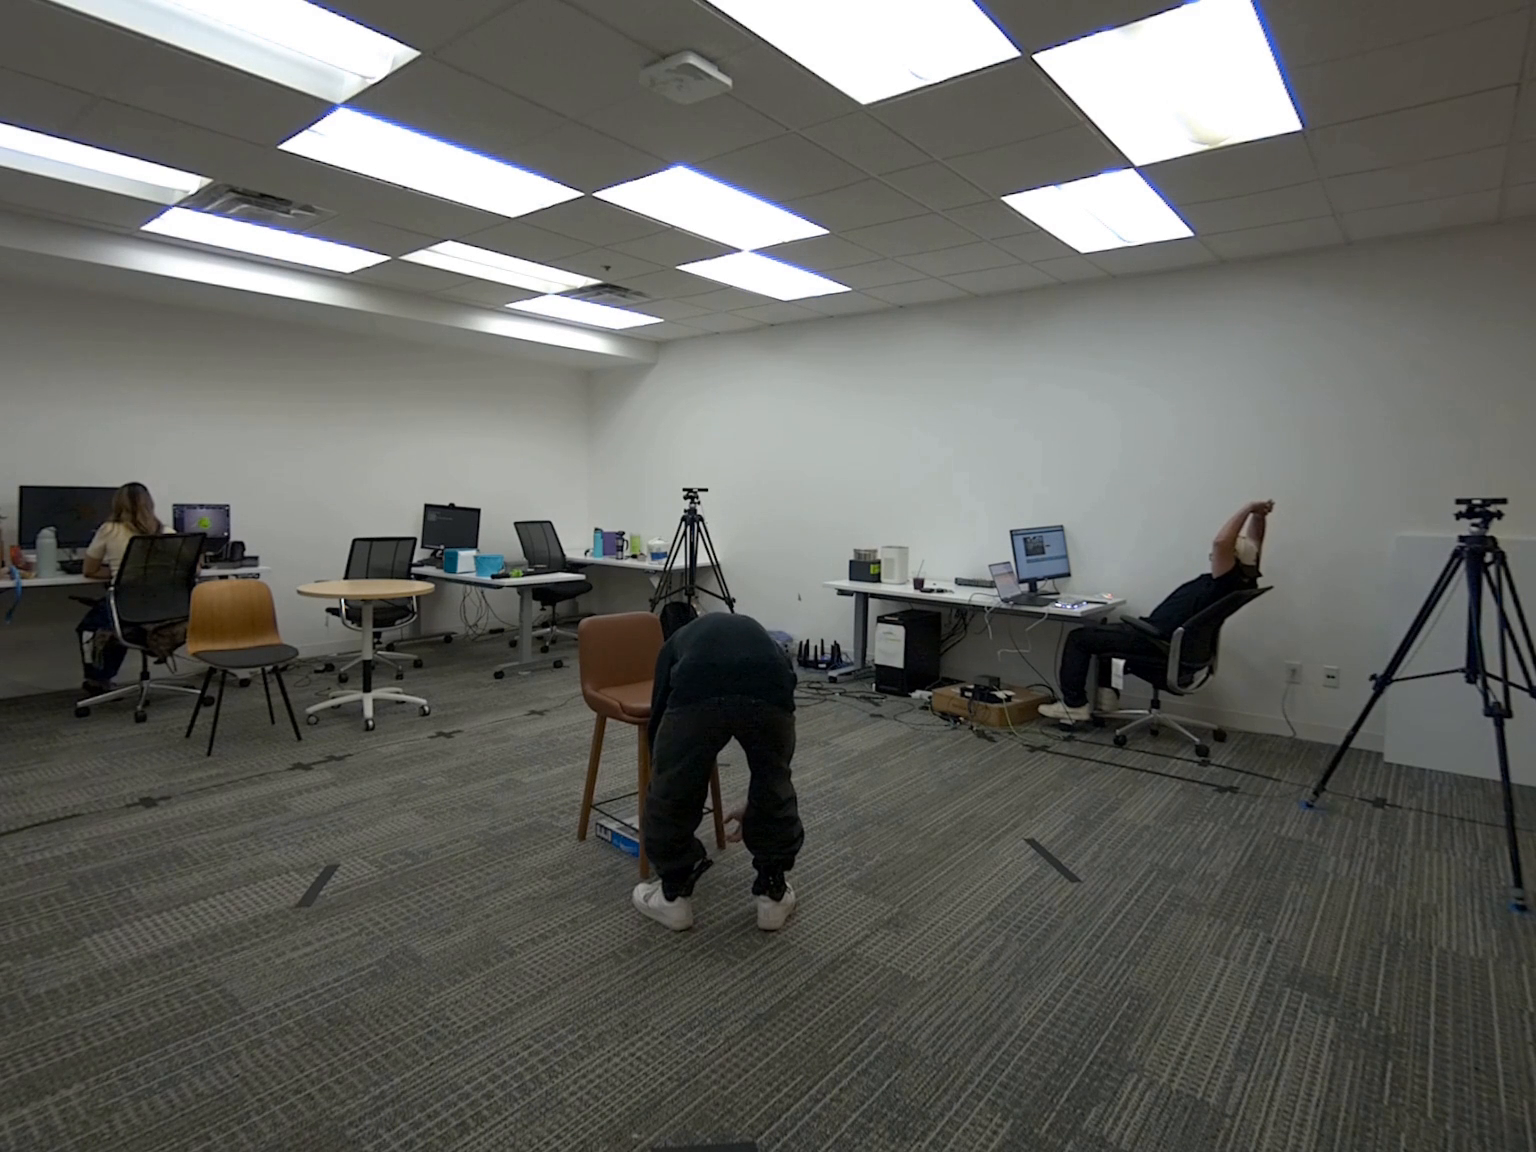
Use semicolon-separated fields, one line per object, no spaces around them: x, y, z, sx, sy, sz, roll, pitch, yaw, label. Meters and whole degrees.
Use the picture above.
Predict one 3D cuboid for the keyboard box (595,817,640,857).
-0.476;1.022;3.294;0.452;0.059;0.170;7;5;43;keyboard box
